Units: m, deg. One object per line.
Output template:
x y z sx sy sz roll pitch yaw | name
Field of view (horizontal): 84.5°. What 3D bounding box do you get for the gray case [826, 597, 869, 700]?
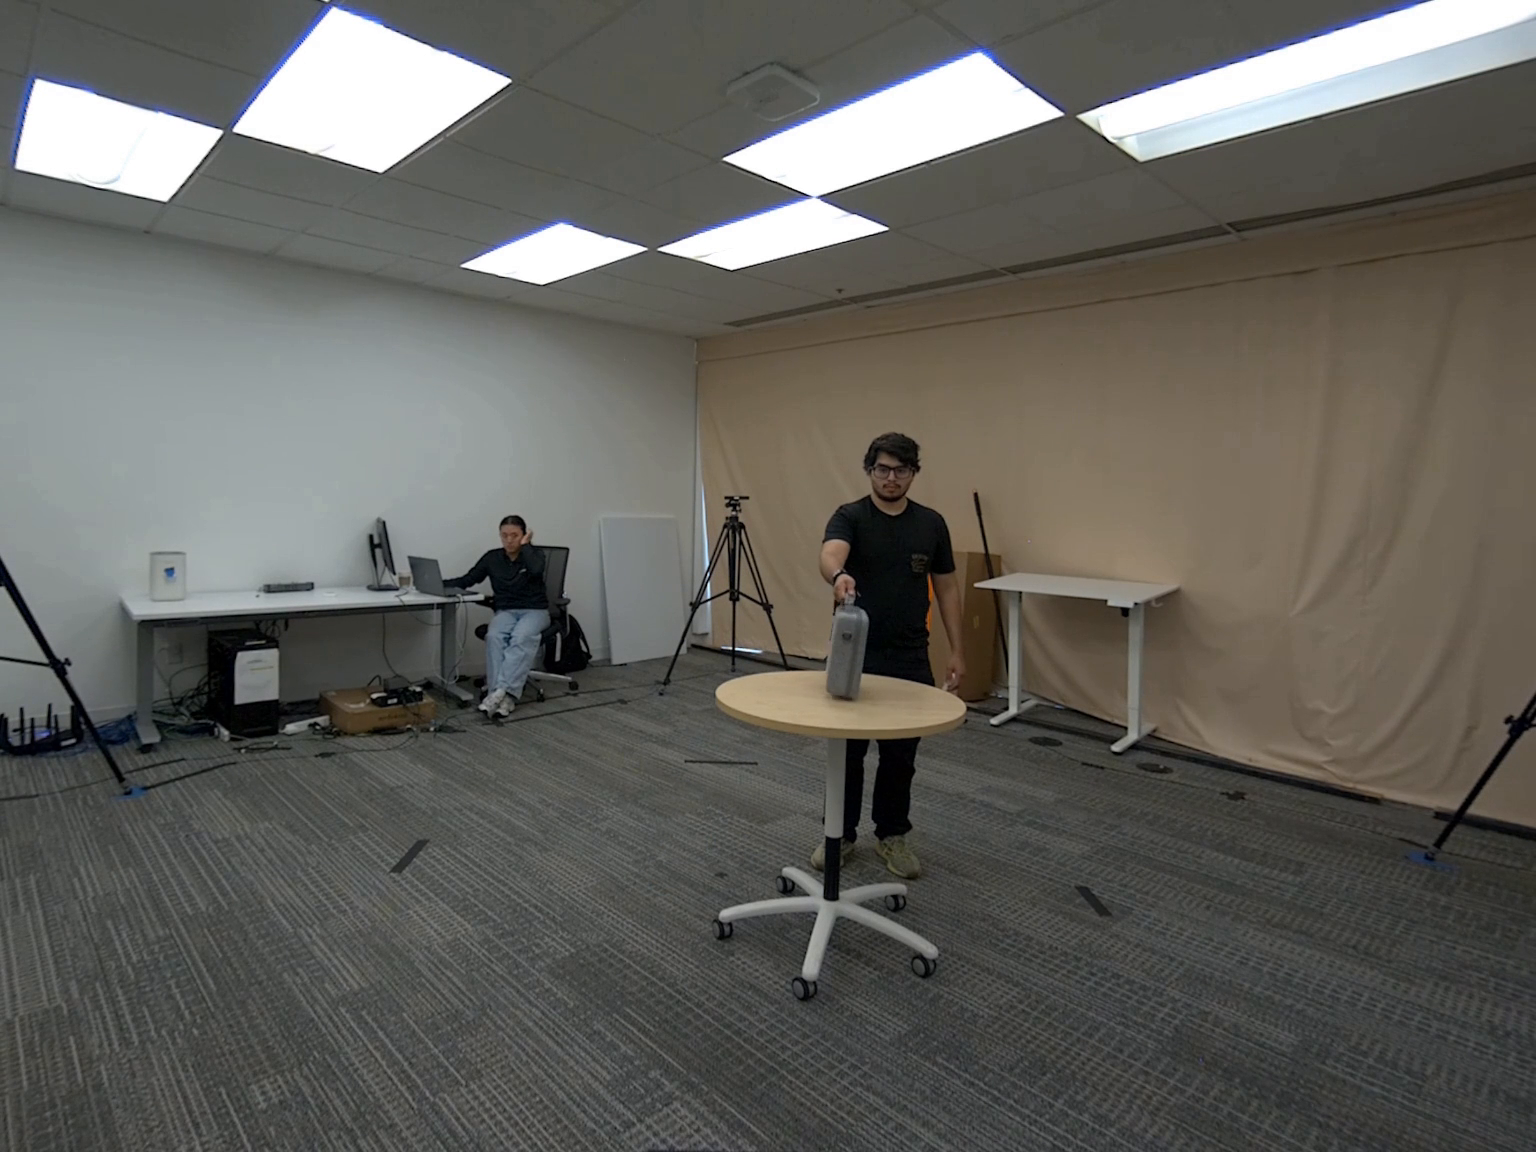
0.243 0.224 2.639 0.105 0.260 0.256 6 3 3 | gray case
